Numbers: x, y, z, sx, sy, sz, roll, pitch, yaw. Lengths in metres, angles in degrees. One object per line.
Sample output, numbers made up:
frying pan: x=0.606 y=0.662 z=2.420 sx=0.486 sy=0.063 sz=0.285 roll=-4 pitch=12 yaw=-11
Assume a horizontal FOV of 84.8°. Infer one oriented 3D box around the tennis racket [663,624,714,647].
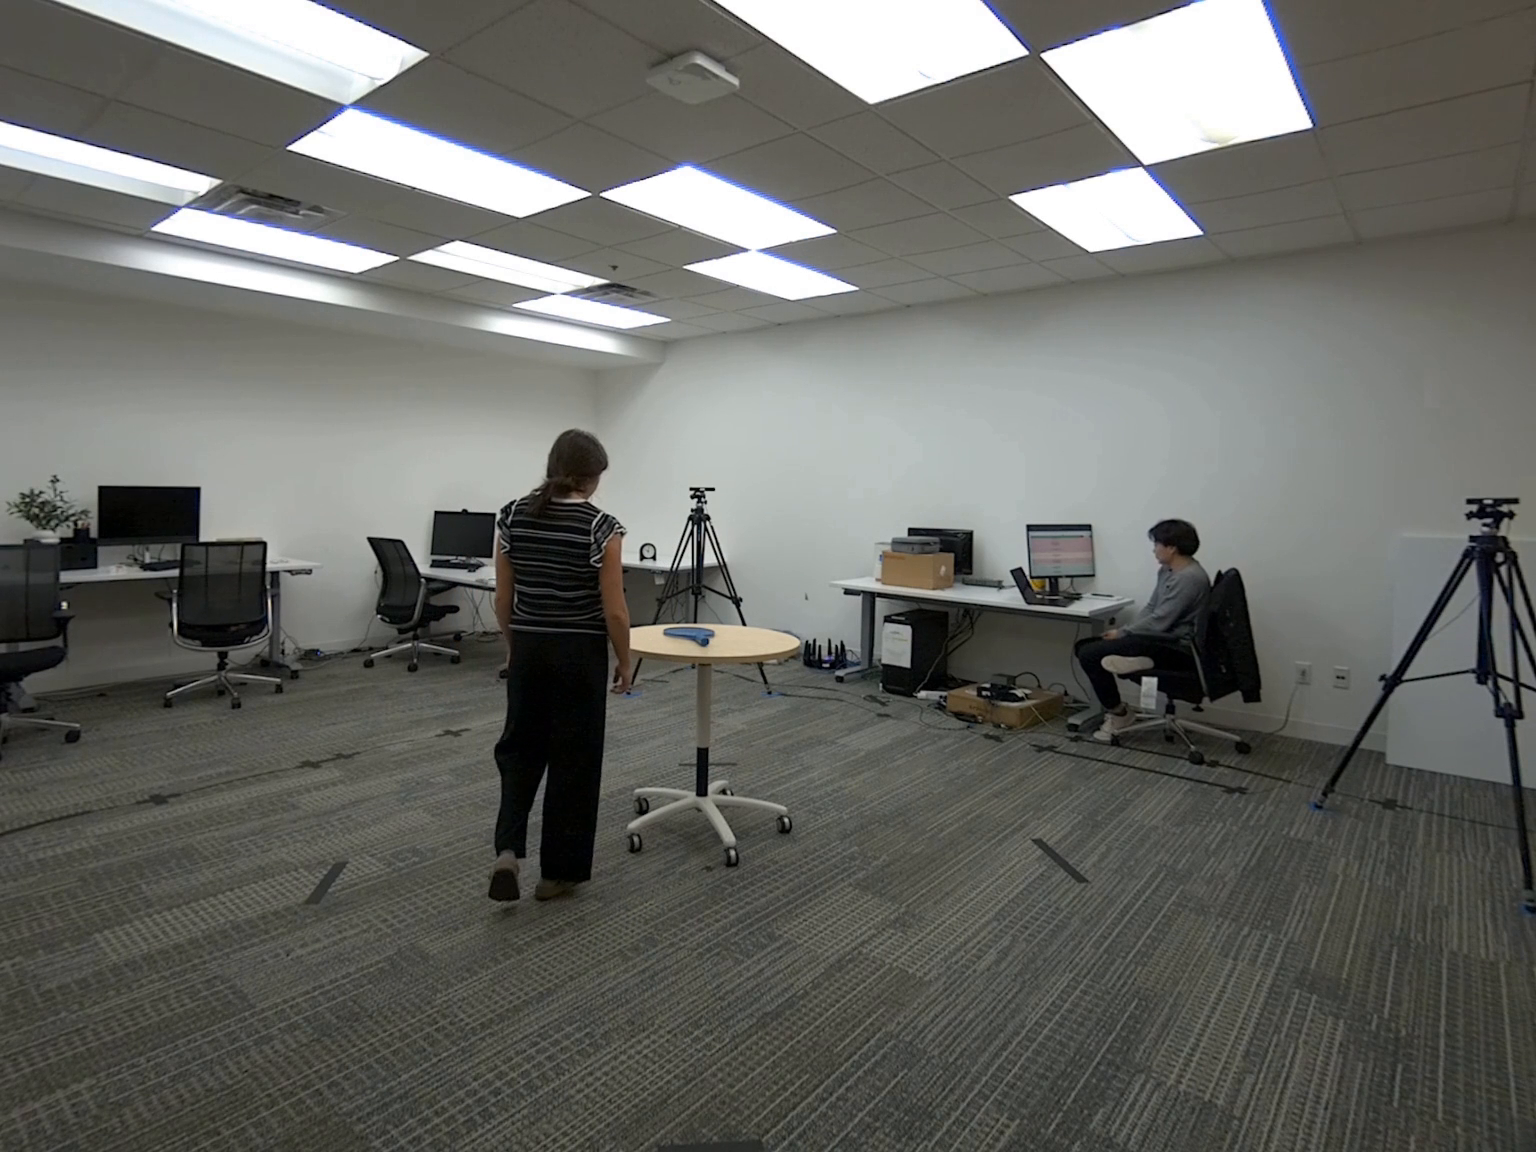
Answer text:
tennis racket: x=-0.323 y=0.238 z=3.466 sx=0.210 sy=0.032 sz=0.441 roll=0 pitch=4 yaw=-17
